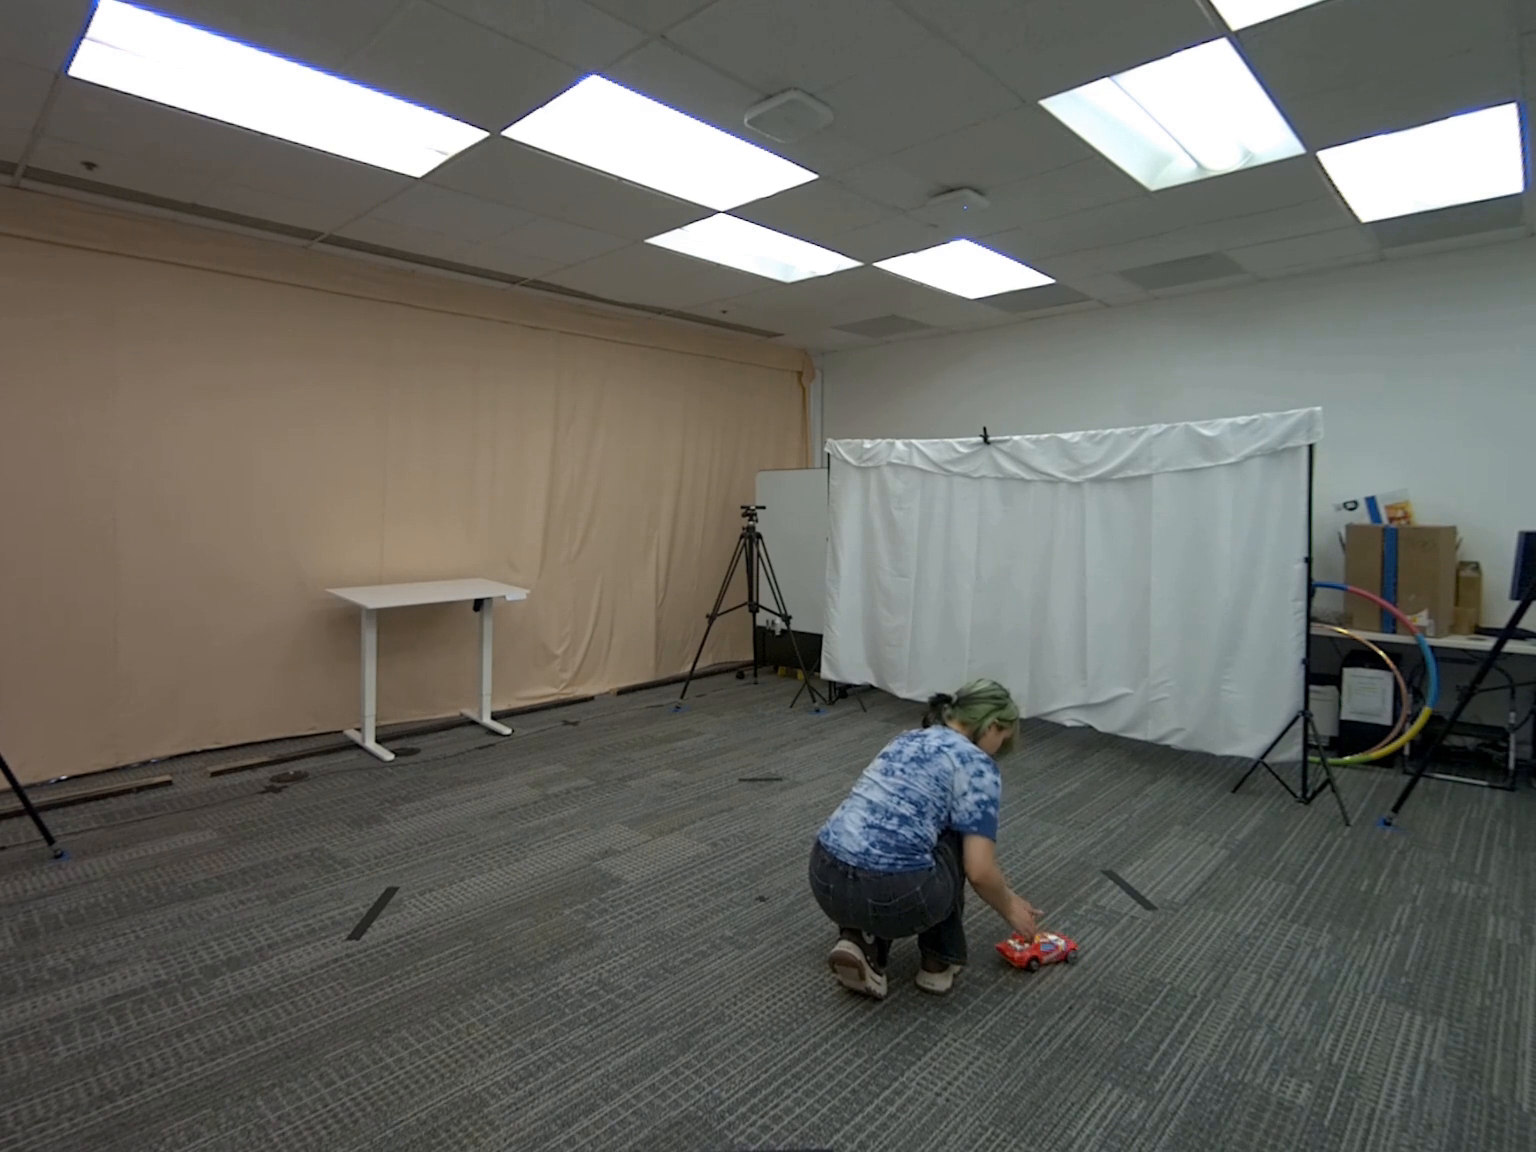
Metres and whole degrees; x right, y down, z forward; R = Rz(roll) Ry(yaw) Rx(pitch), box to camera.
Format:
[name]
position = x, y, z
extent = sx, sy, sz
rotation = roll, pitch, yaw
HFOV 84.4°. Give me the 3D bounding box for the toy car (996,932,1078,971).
[toy car]
position = 0.823, 1.145, 2.563
extent = 0.249, 0.083, 0.133
rotation = 10, 1, -19
